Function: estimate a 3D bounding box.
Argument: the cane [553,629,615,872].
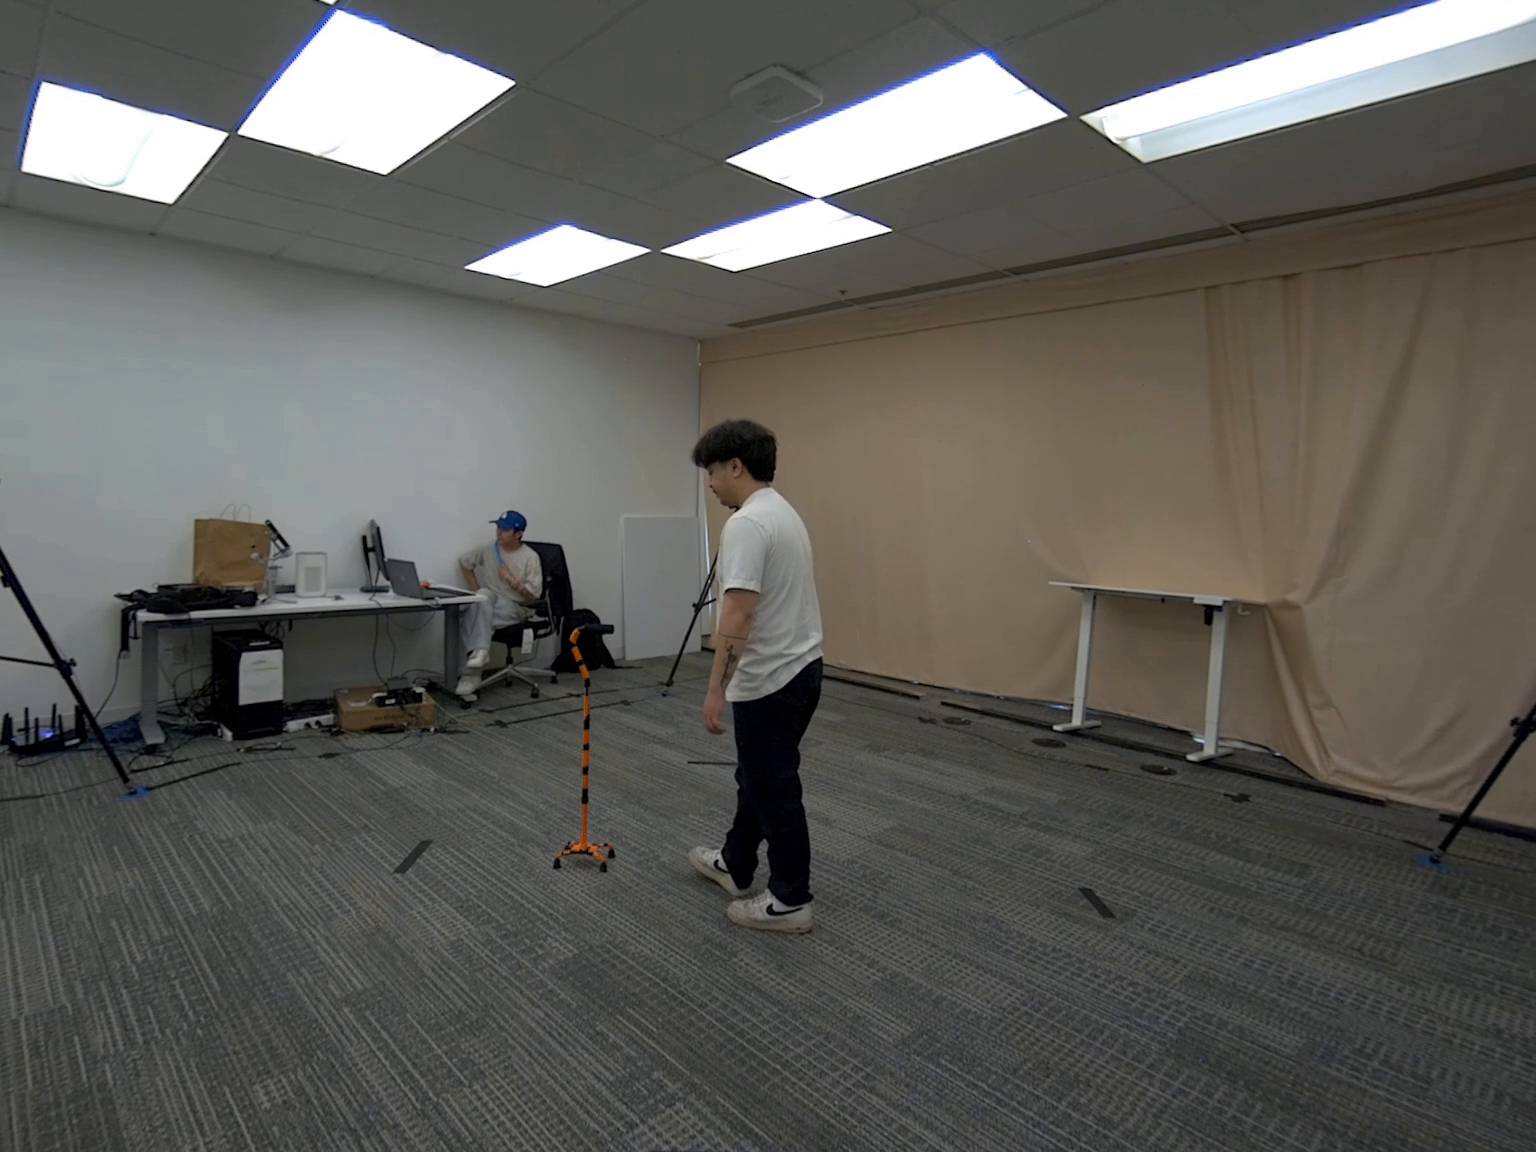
[{"bbox_3d":[-0.693,0.642,3.168,0.207,0.906,0.151,1,3,4],"label":"cane"}]
